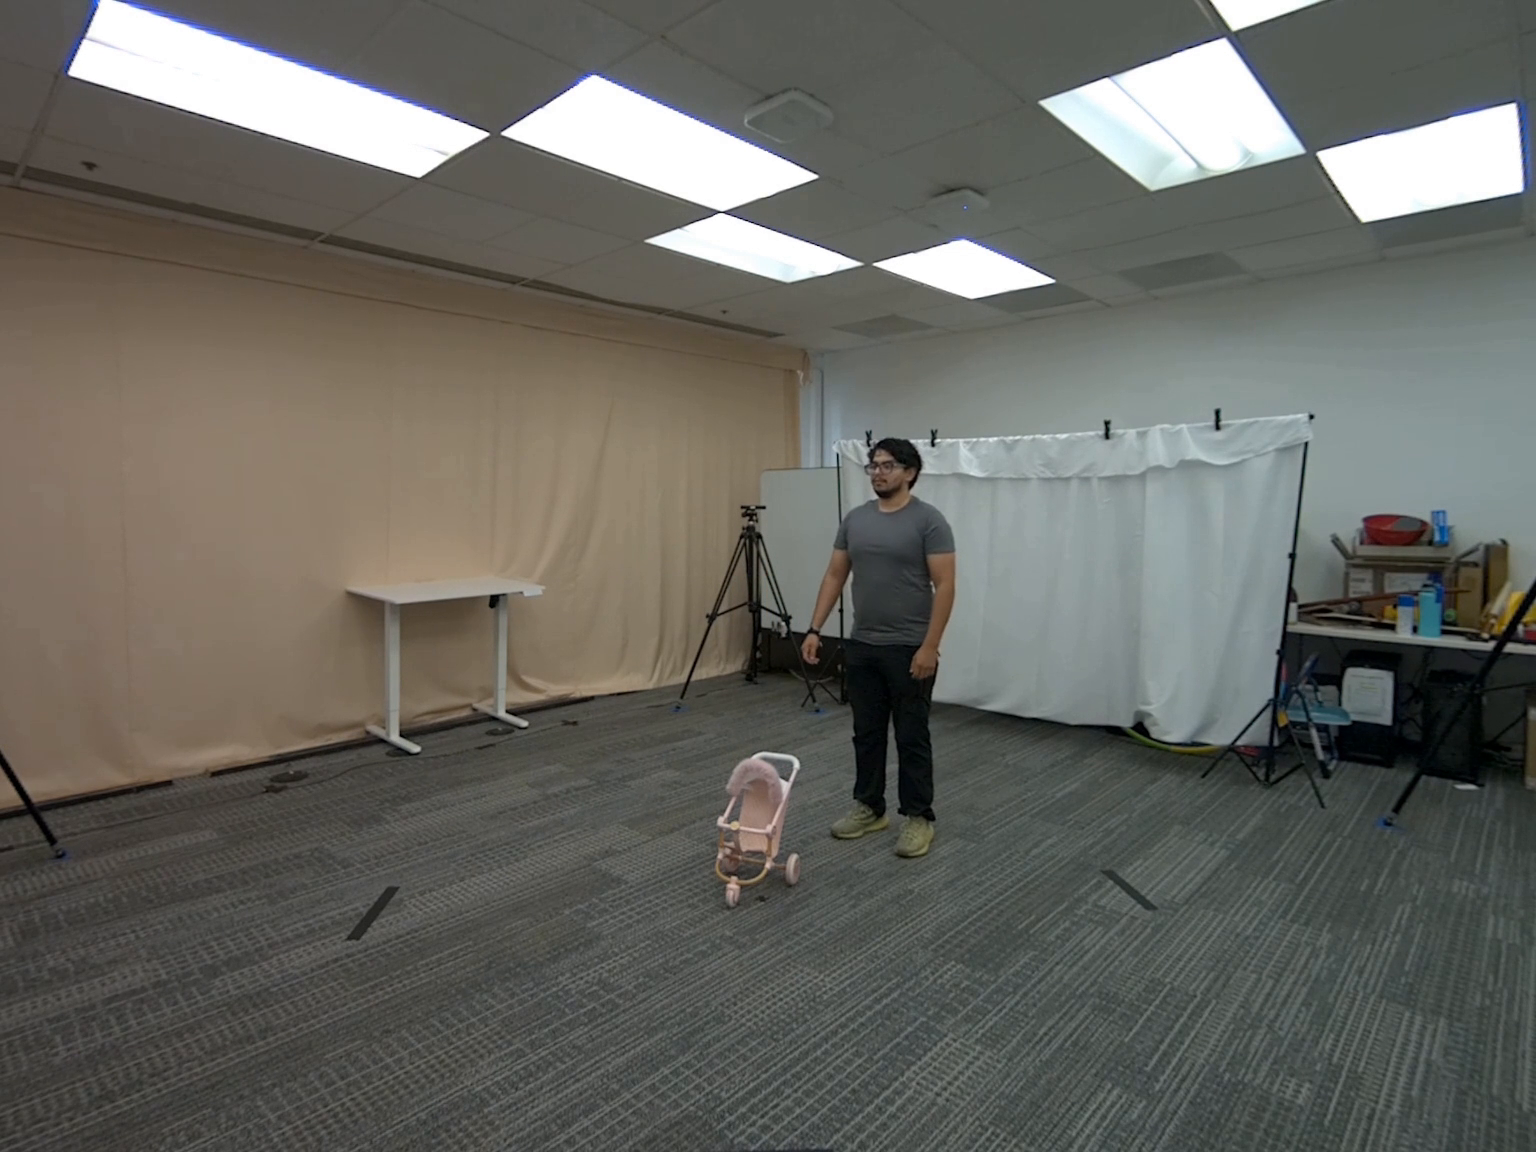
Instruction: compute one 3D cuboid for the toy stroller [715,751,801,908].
[{"bbox_3d":[-0.047,0.911,3.084,0.289,0.538,0.330,1,-13,29],"label":"toy stroller"}]
